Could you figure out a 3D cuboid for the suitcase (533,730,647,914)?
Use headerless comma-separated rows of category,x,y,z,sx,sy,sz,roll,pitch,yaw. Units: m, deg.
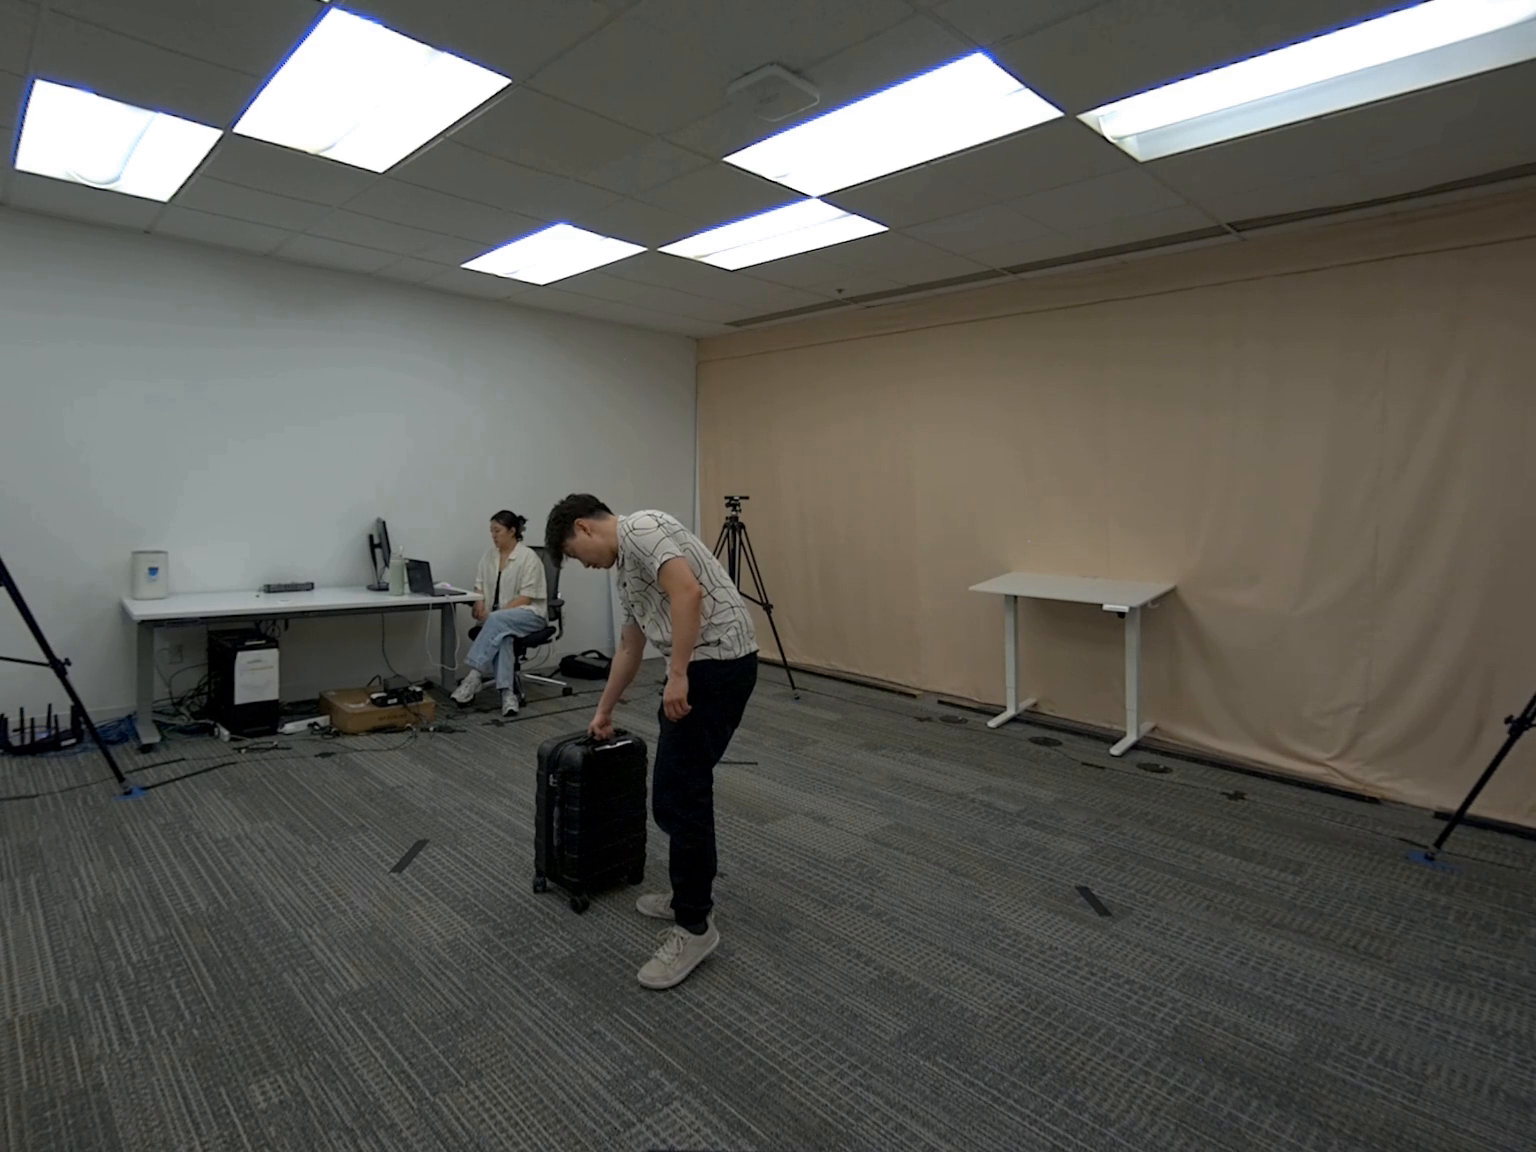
suitcase,-0.633,0.826,2.986,0.254,0.548,0.367,4,4,41
